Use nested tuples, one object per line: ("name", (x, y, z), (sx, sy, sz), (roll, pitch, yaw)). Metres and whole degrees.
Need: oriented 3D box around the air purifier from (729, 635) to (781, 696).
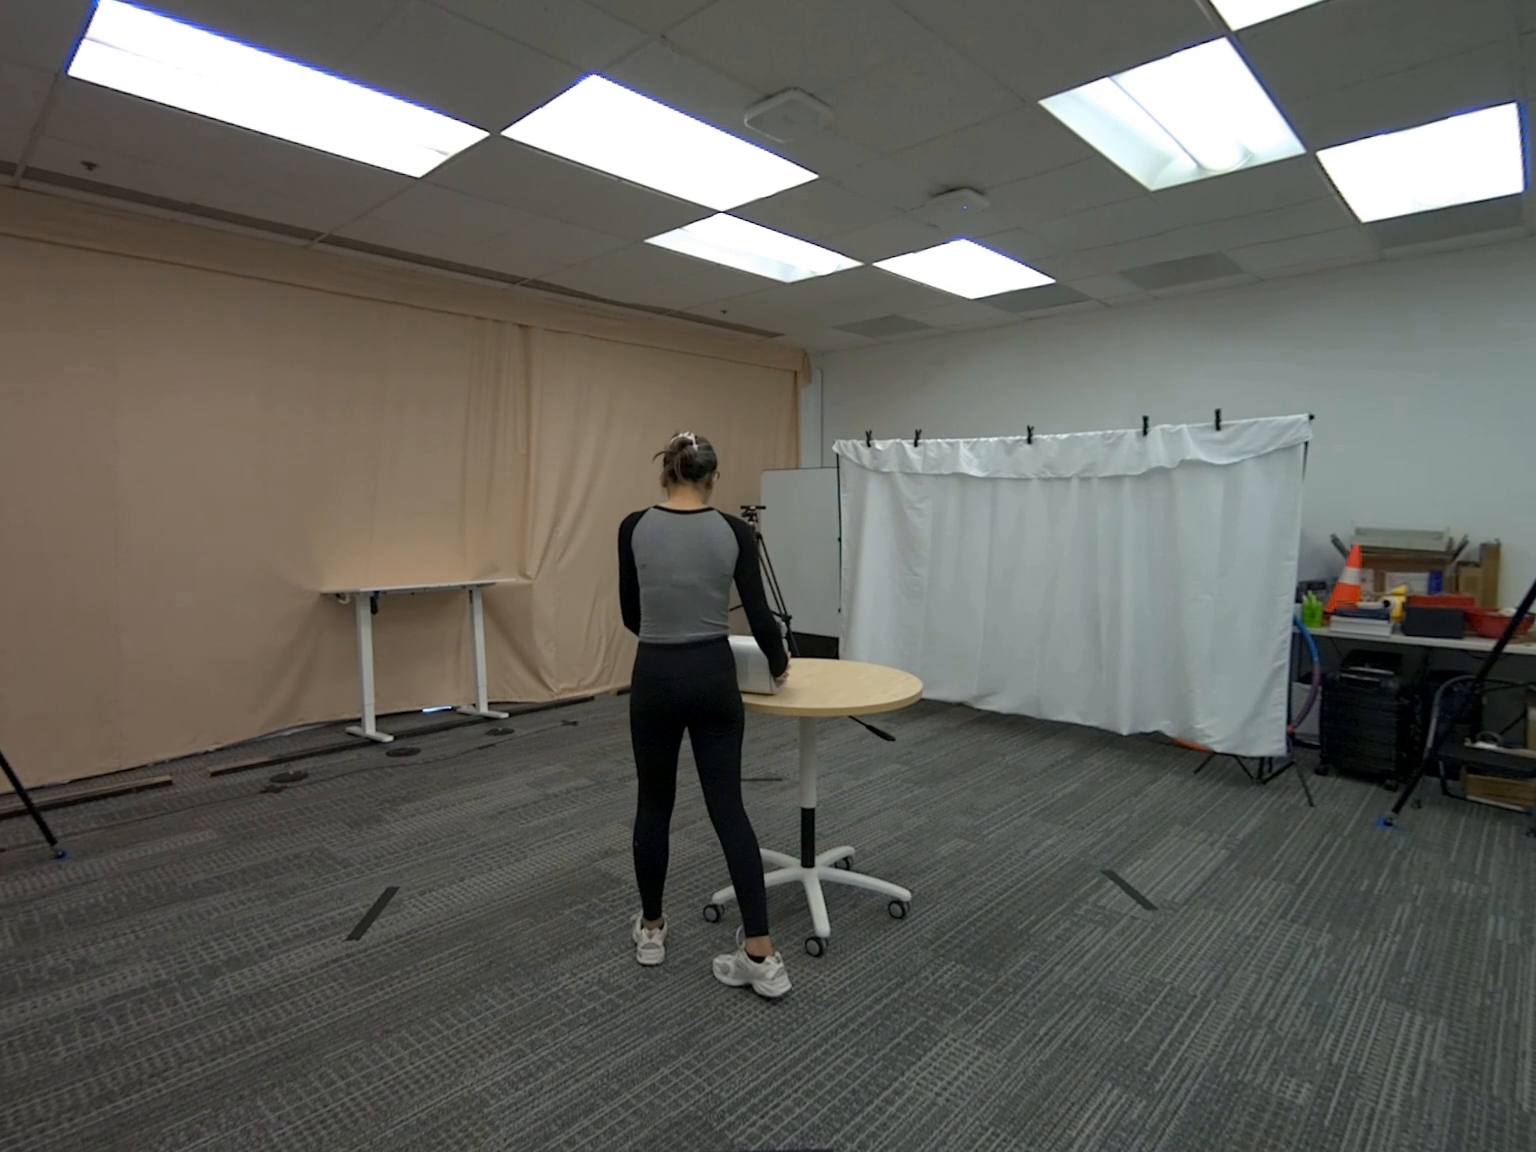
("air purifier", (-0.080, 0.286, 2.749), (0.271, 0.171, 0.168), (1, 6, 20))
